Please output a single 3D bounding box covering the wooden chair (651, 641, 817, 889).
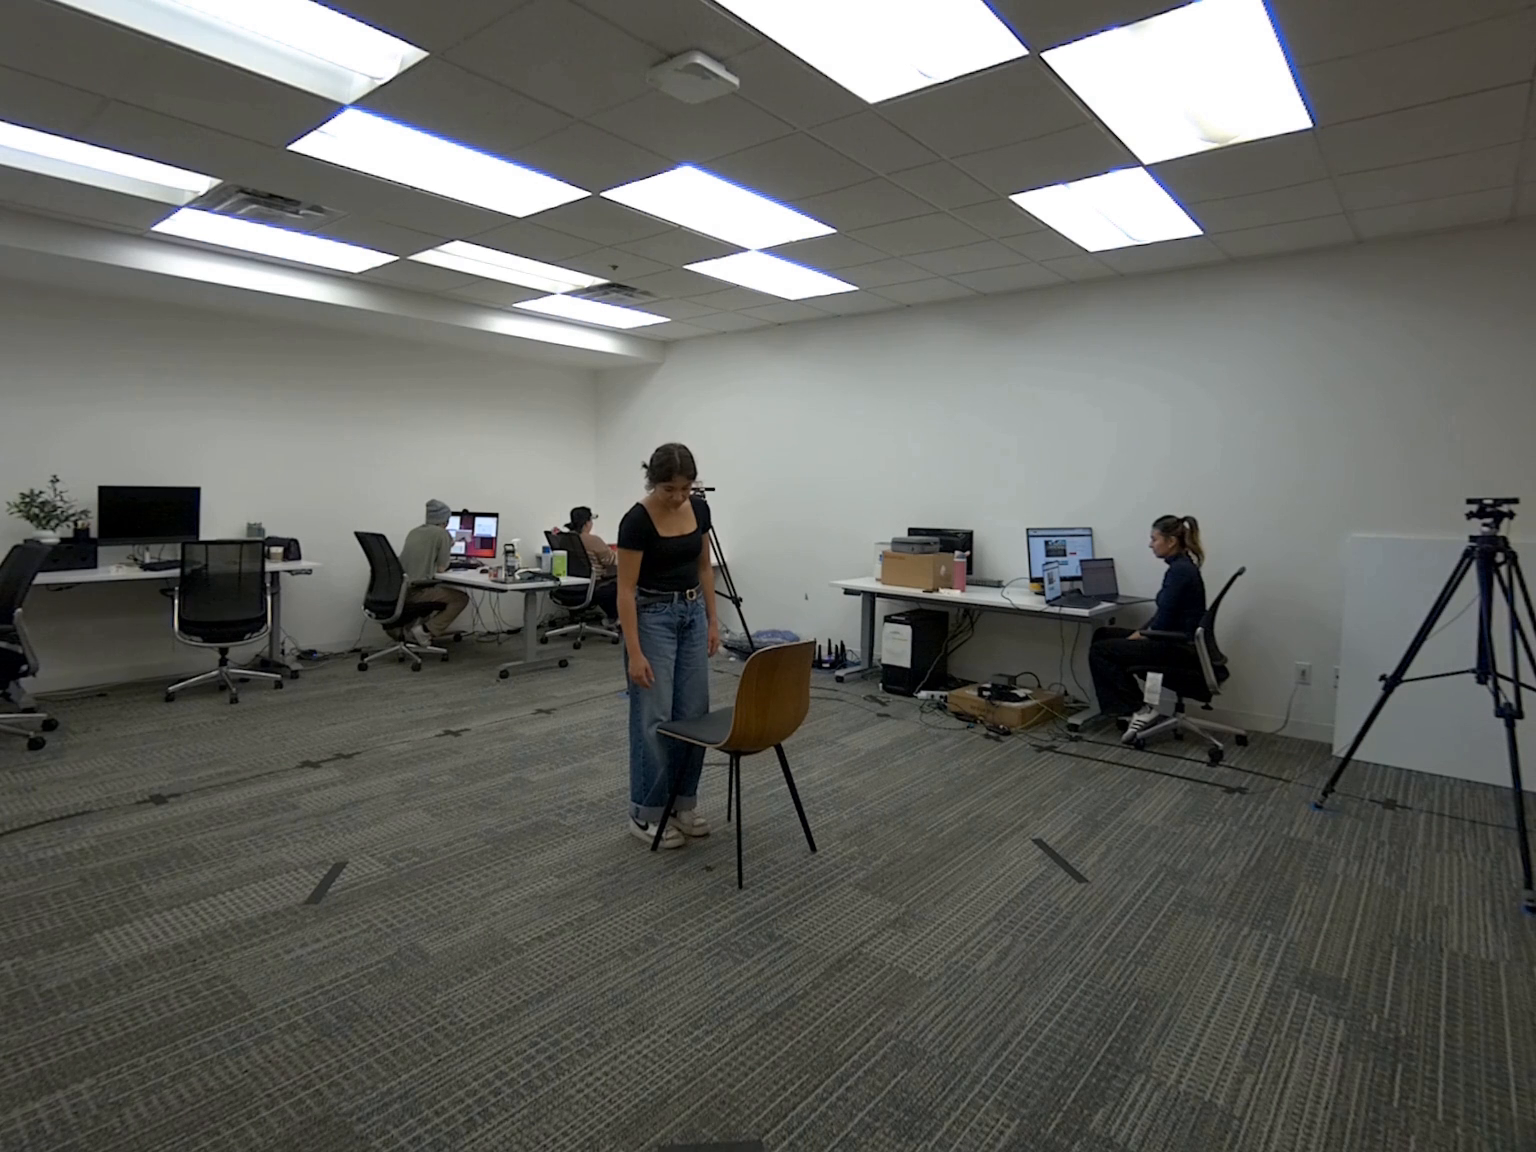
[{"bbox_3d":[-0.130,0.631,3.236,0.542,0.873,0.463,9,7,40],"label":"wooden chair"}]
